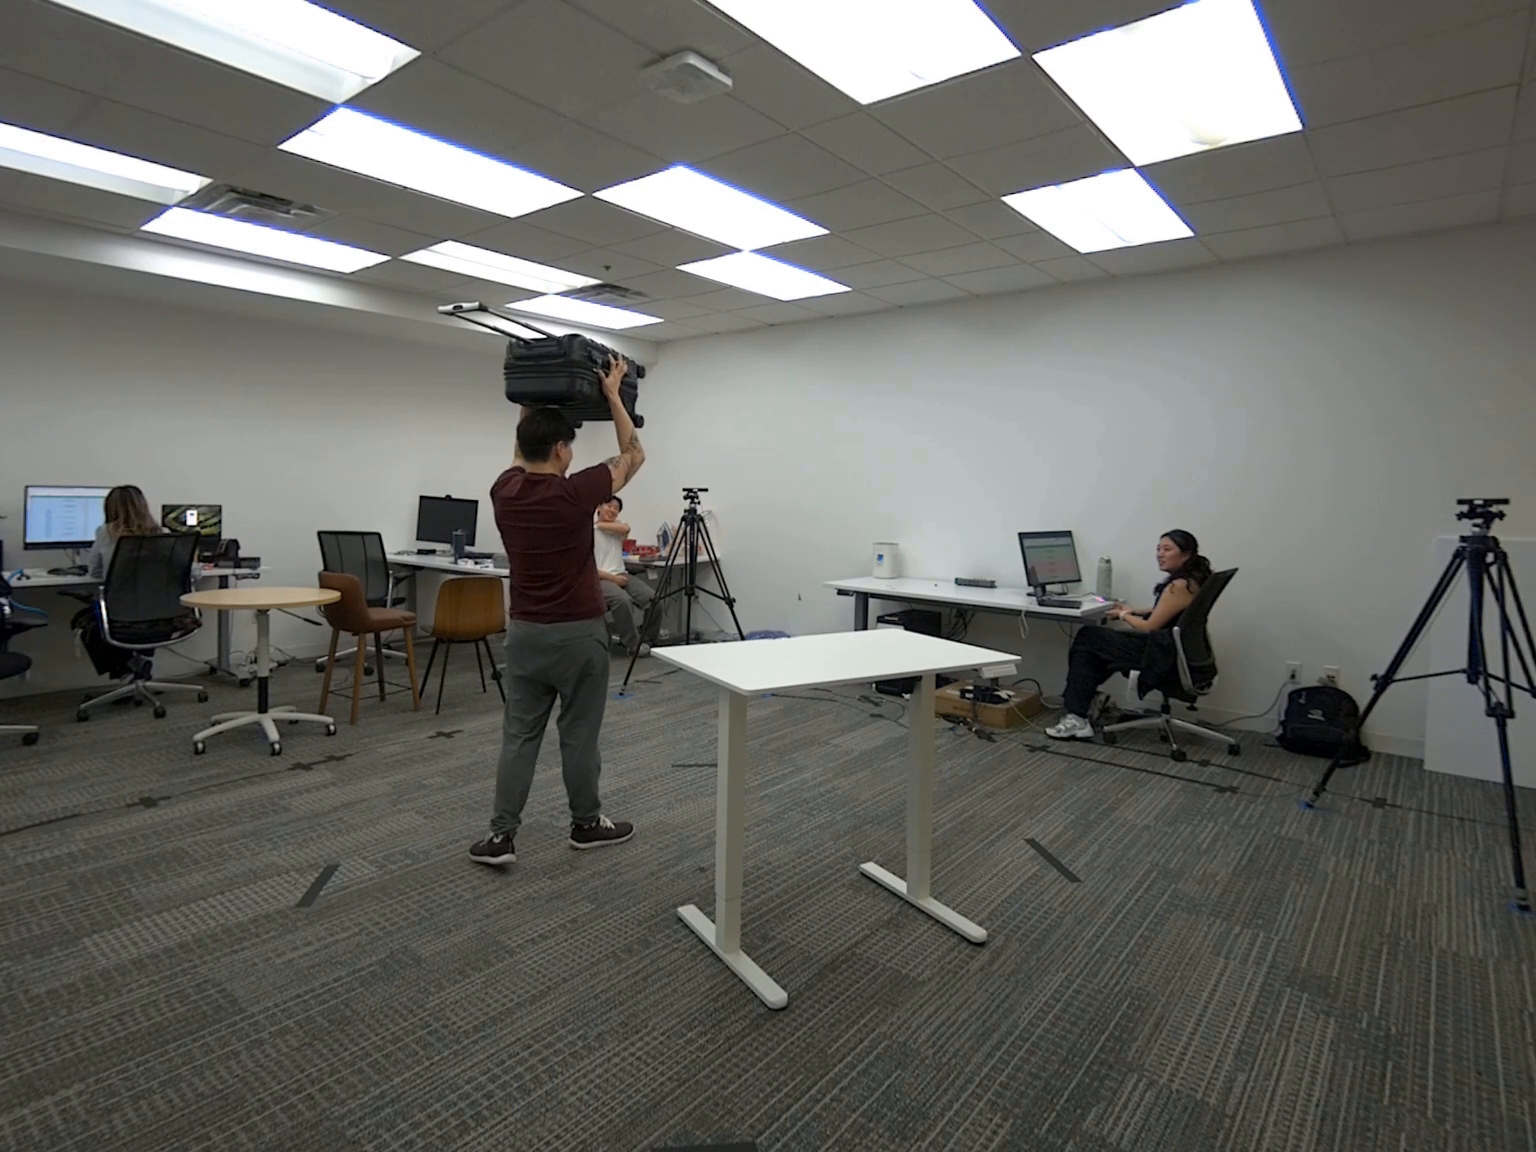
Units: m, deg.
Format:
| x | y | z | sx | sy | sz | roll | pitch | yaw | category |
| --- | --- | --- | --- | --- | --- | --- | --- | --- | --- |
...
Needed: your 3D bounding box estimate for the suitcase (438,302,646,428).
| x | y | z | sx | sy | sz | roll | pitch | yaw | category |
| --- | --- | --- | --- | --- | --- | --- | --- | --- | --- |
| -0.827 | -0.751 | 3.112 | 0.392 | 0.257 | 0.958 | 2 | 2 | 20 | suitcase |
